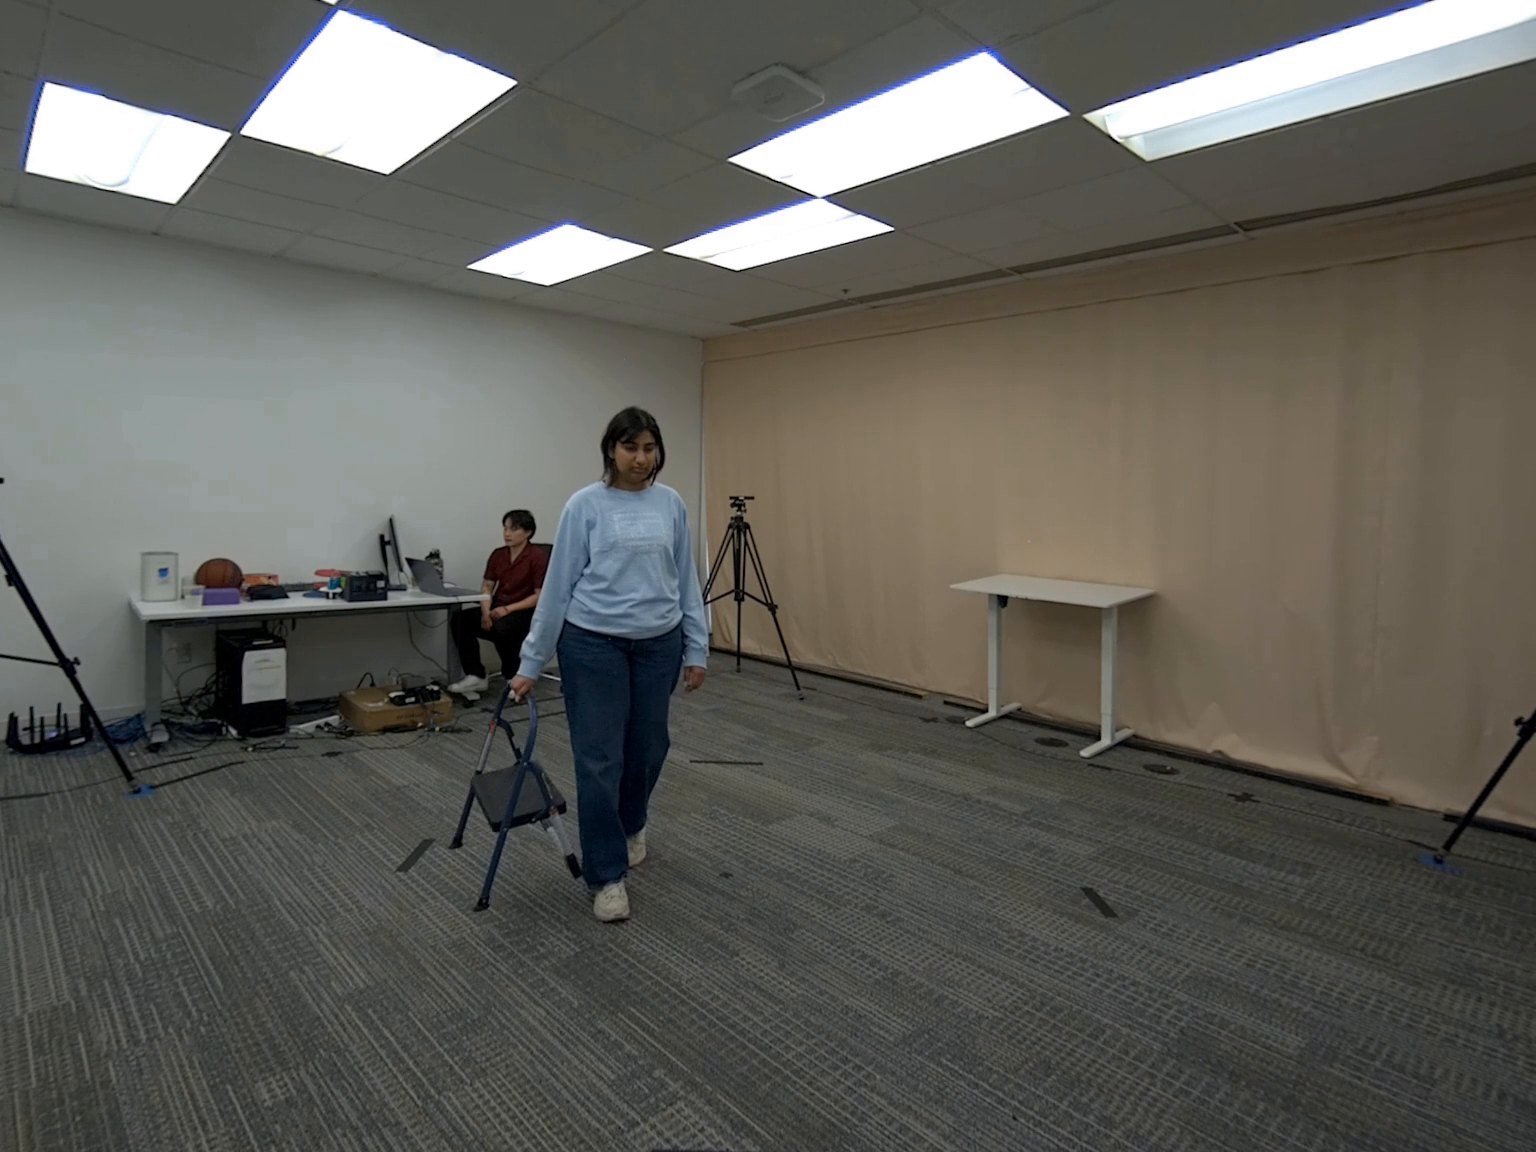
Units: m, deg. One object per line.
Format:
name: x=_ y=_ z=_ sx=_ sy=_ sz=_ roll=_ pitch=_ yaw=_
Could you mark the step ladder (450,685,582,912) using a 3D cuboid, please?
step ladder: x=-0.866 y=0.681 z=2.787 sx=0.343 sy=0.600 sz=0.442 roll=-8 pitch=15 yaw=-30
